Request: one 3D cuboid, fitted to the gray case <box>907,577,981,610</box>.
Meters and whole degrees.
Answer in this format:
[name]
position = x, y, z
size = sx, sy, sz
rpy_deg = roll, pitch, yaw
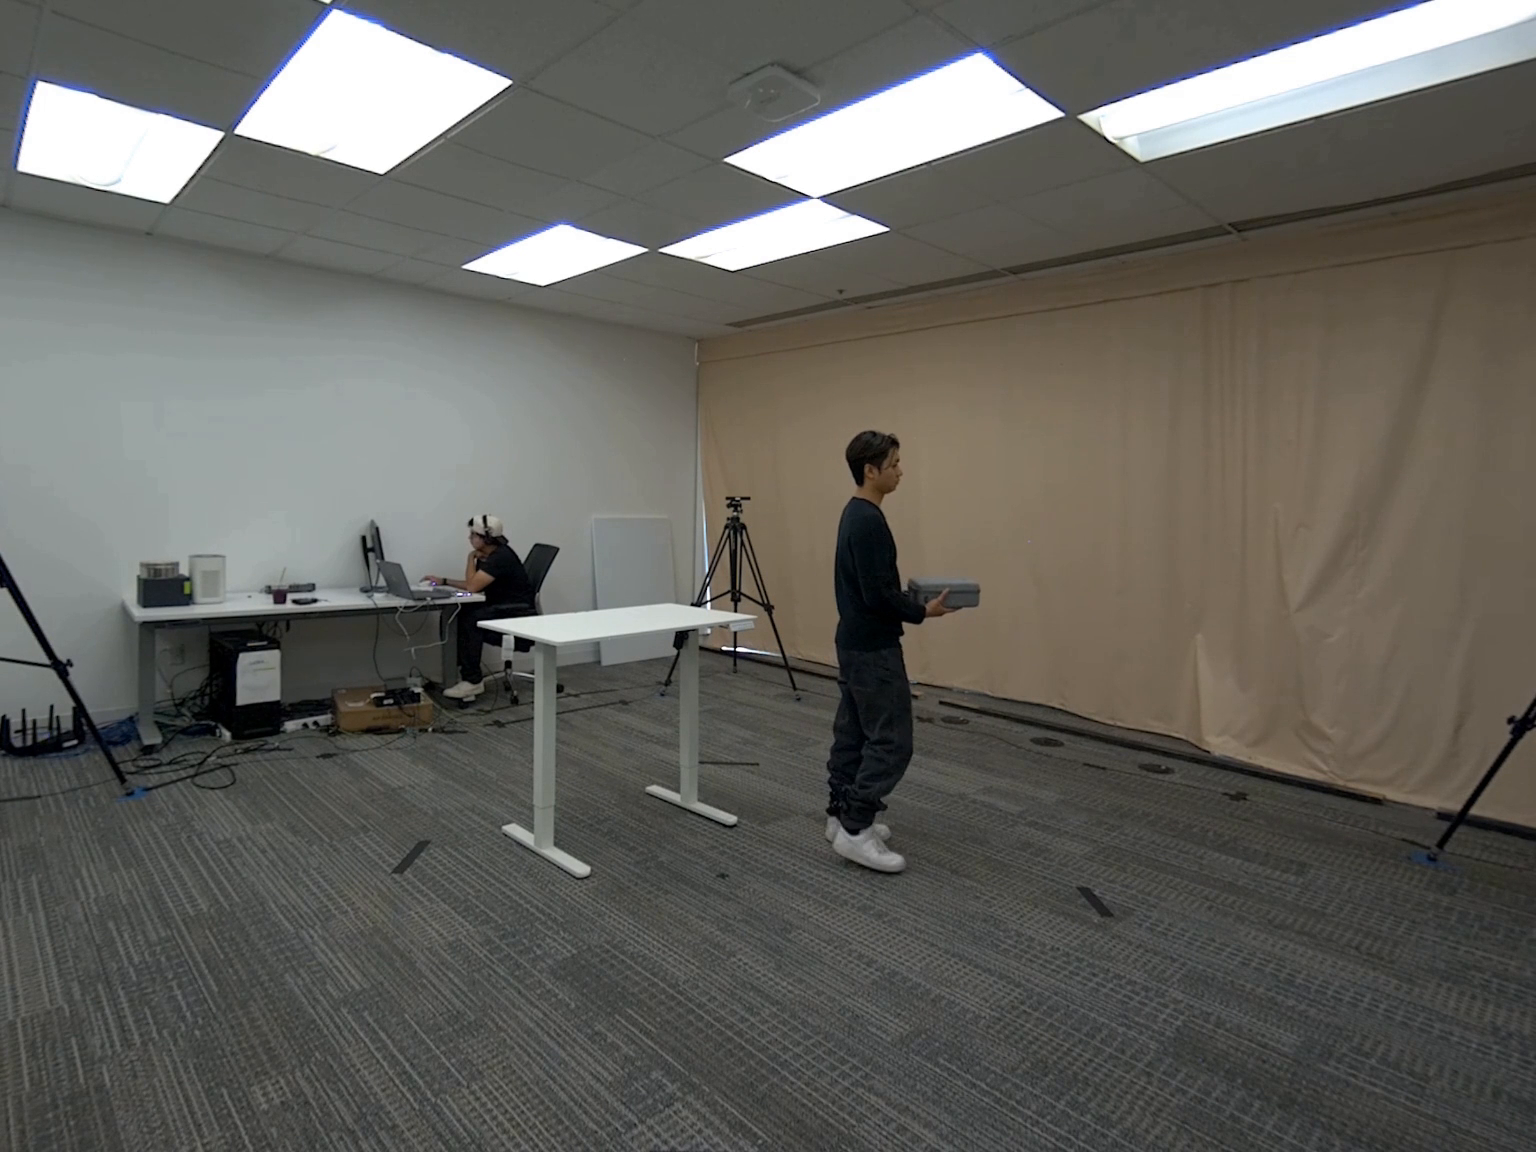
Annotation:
[gray case]
position = 0.705, 0.054, 3.417
size = 0.257, 0.104, 0.262
rpy_deg = 0, 8, 1
